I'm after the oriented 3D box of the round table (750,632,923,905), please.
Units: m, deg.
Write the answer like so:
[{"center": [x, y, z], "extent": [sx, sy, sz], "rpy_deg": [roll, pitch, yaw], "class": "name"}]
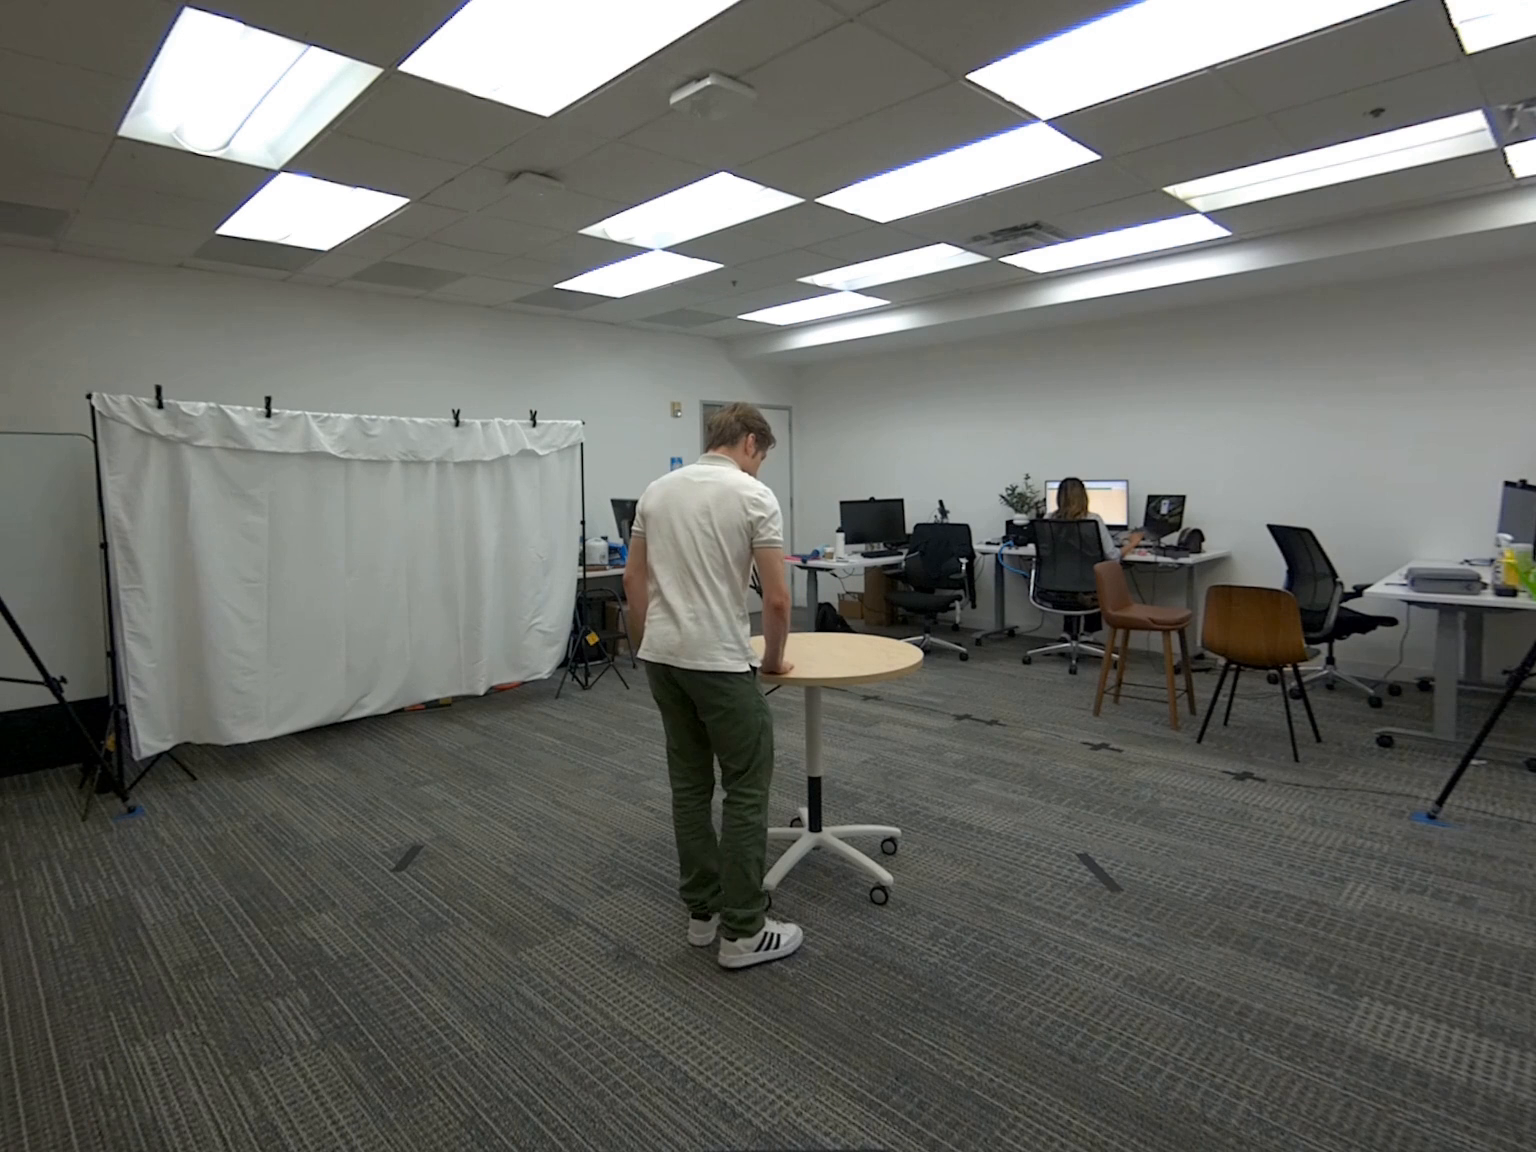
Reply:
[{"center": [0.180, 0.657, 3.045], "extent": [0.784, 0.783, 0.789], "rpy_deg": [-2, 5, -2], "class": "round table"}]
